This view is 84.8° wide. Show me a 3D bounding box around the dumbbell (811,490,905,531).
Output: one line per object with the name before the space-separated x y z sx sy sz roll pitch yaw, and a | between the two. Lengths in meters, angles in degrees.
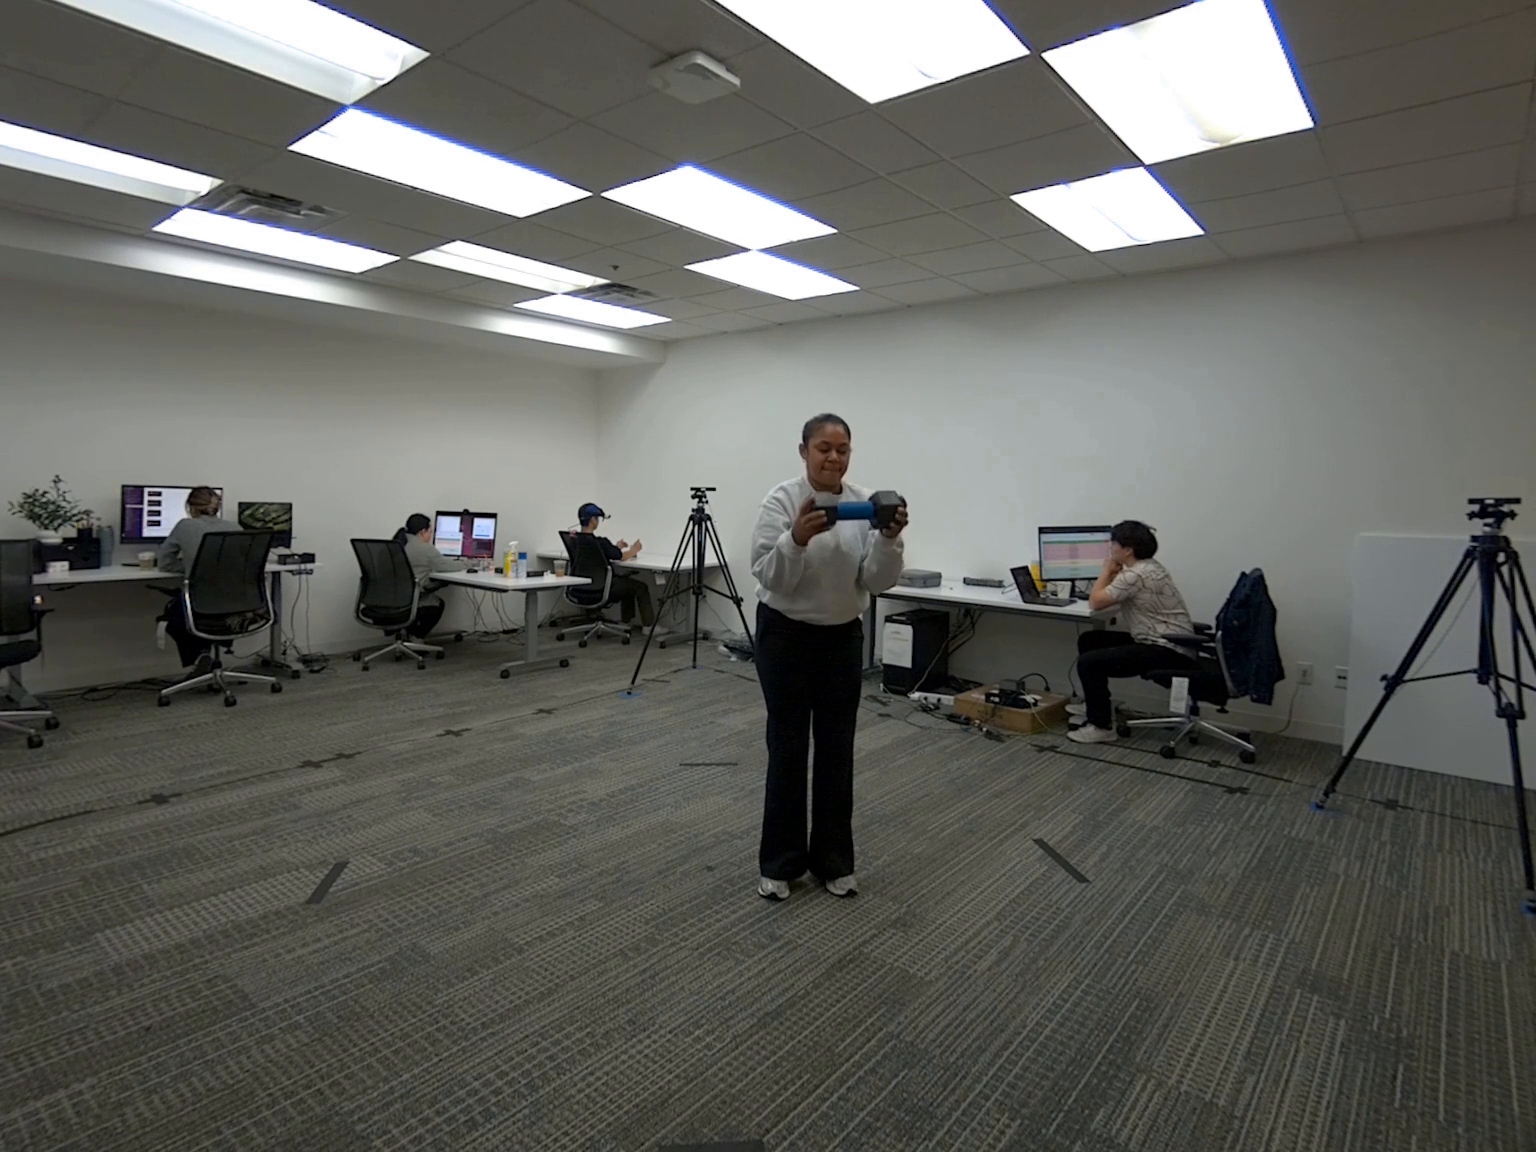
dumbbell | 0.243 -0.186 2.631 0.290 0.121 0.112 -3 20 -13
